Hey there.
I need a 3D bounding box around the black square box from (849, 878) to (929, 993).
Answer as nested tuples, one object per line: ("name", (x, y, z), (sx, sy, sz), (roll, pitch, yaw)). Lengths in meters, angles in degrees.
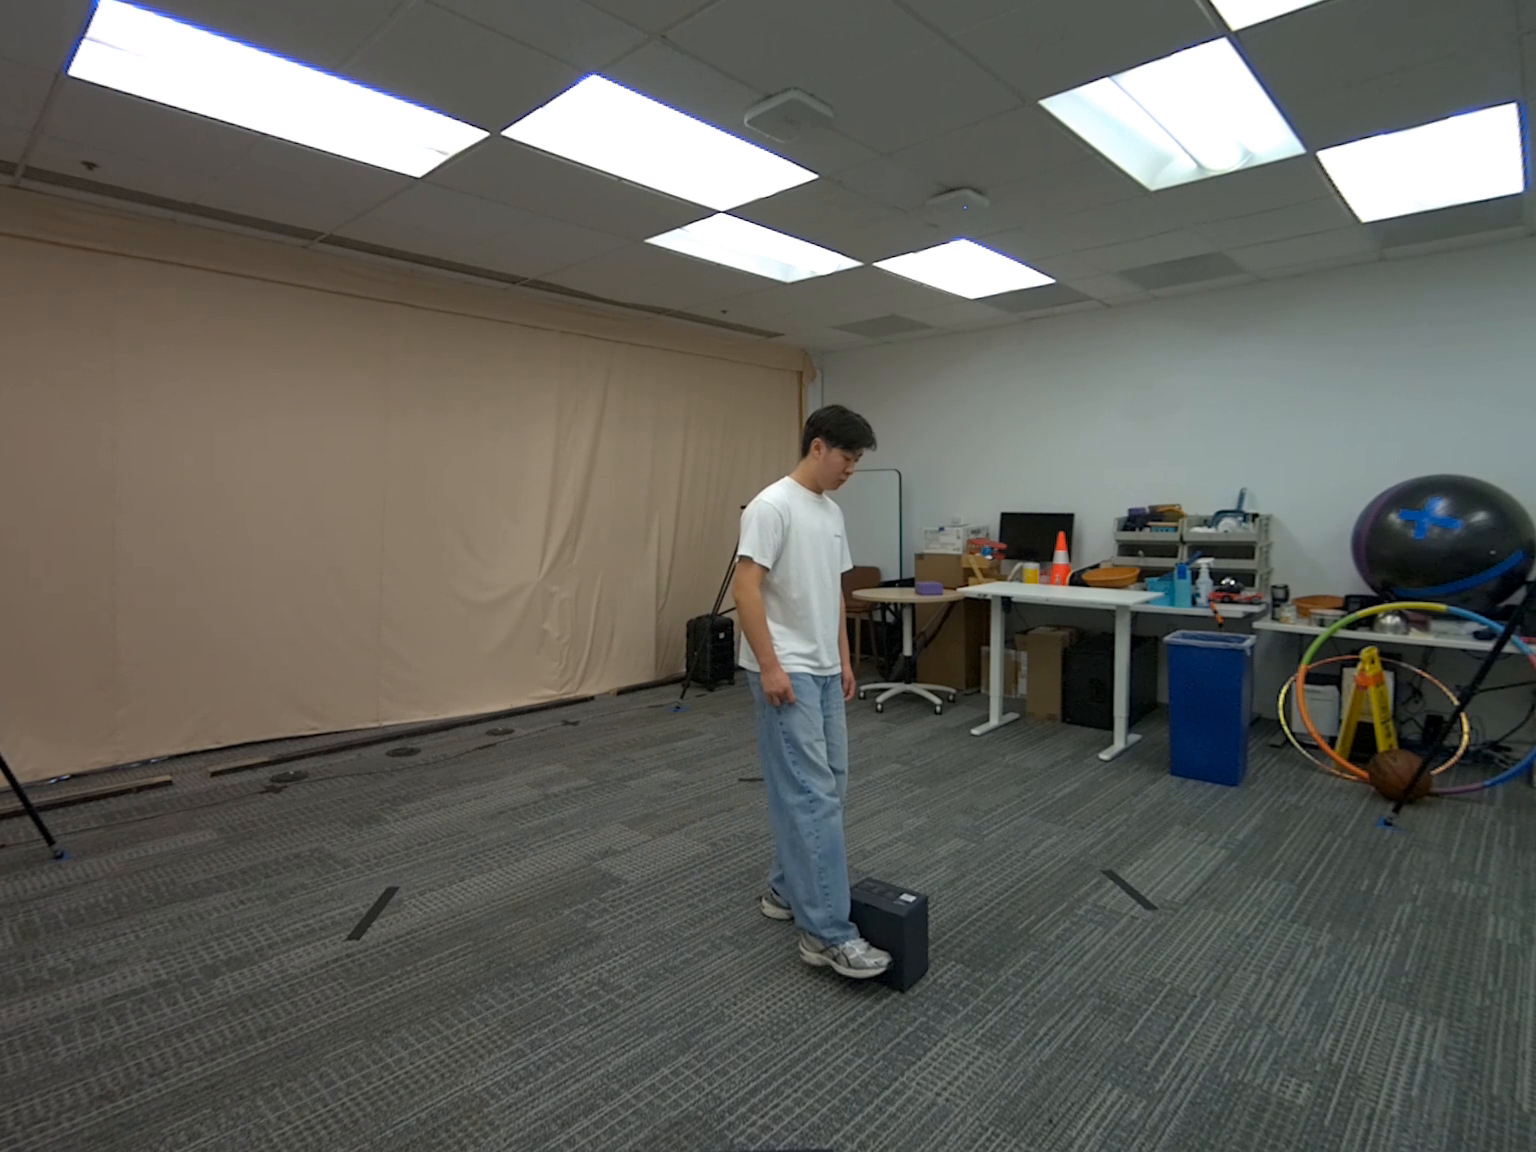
("black square box", (0.361, 1.064, 2.523), (0.224, 0.227, 0.151), (2, 4, 38))
